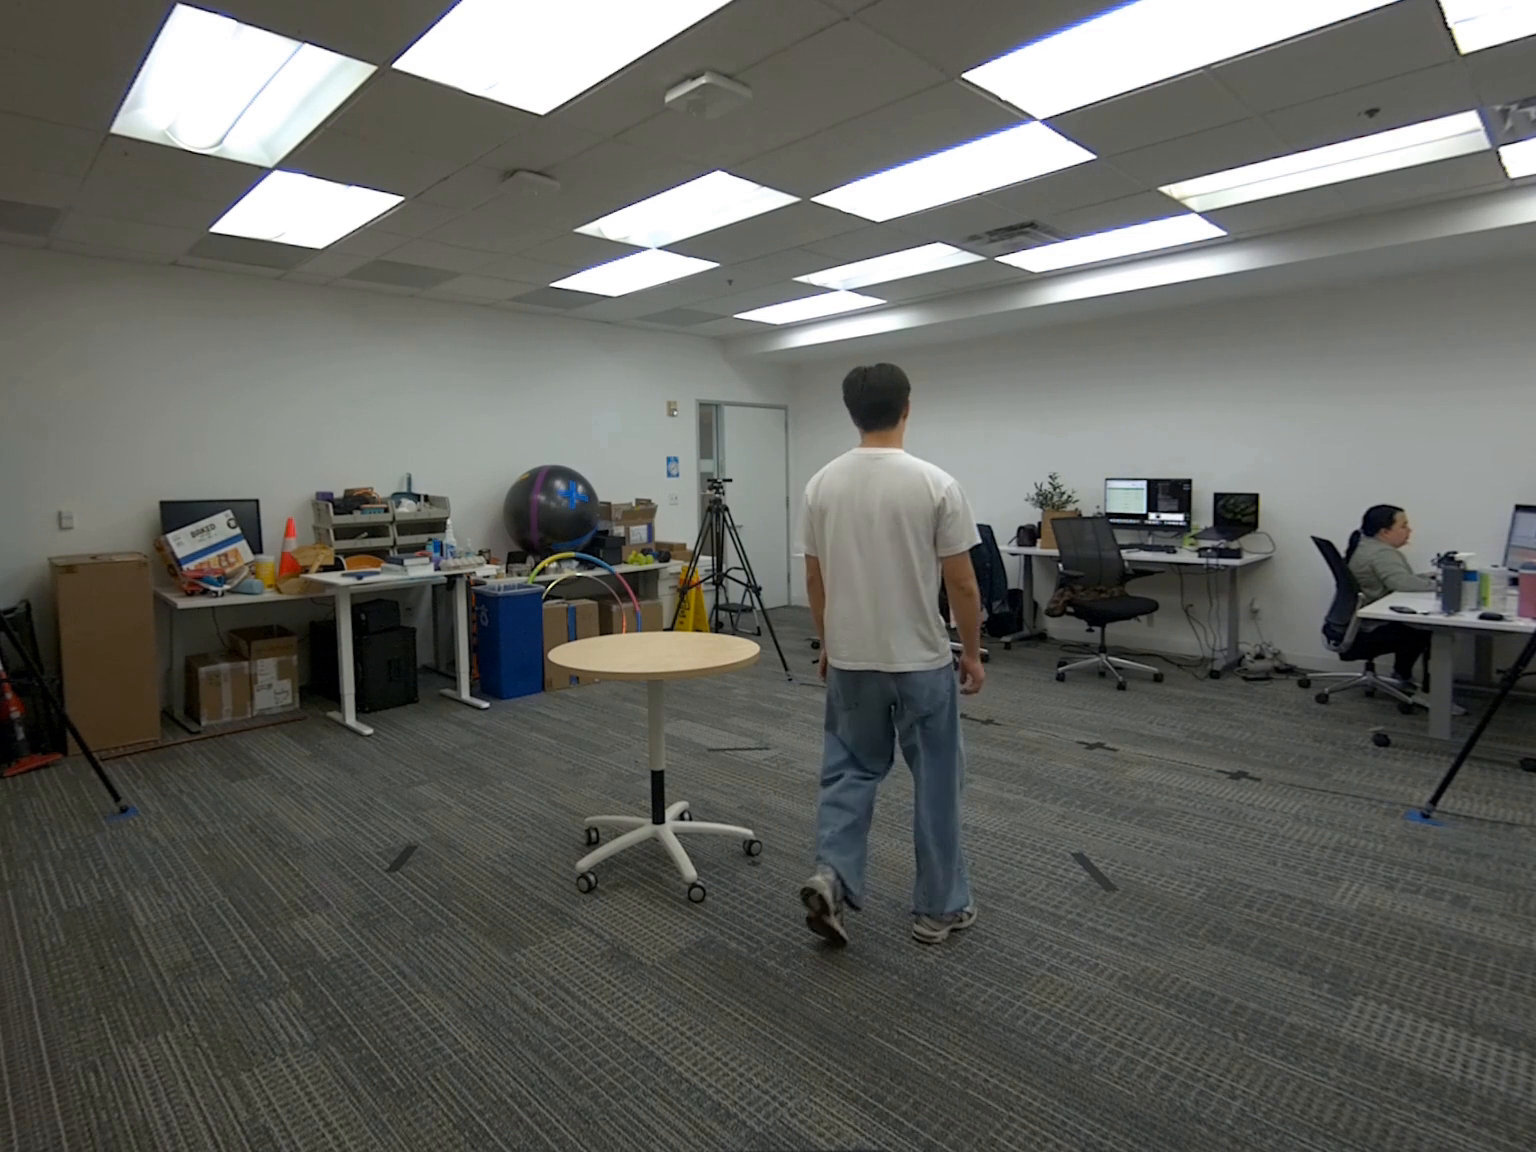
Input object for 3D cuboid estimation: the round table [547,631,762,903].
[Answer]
[{"bbox_3d":[-0.401,0.660,3.131,0.763,0.791,0.768,-1,5,-2],"label":"round table"}]
